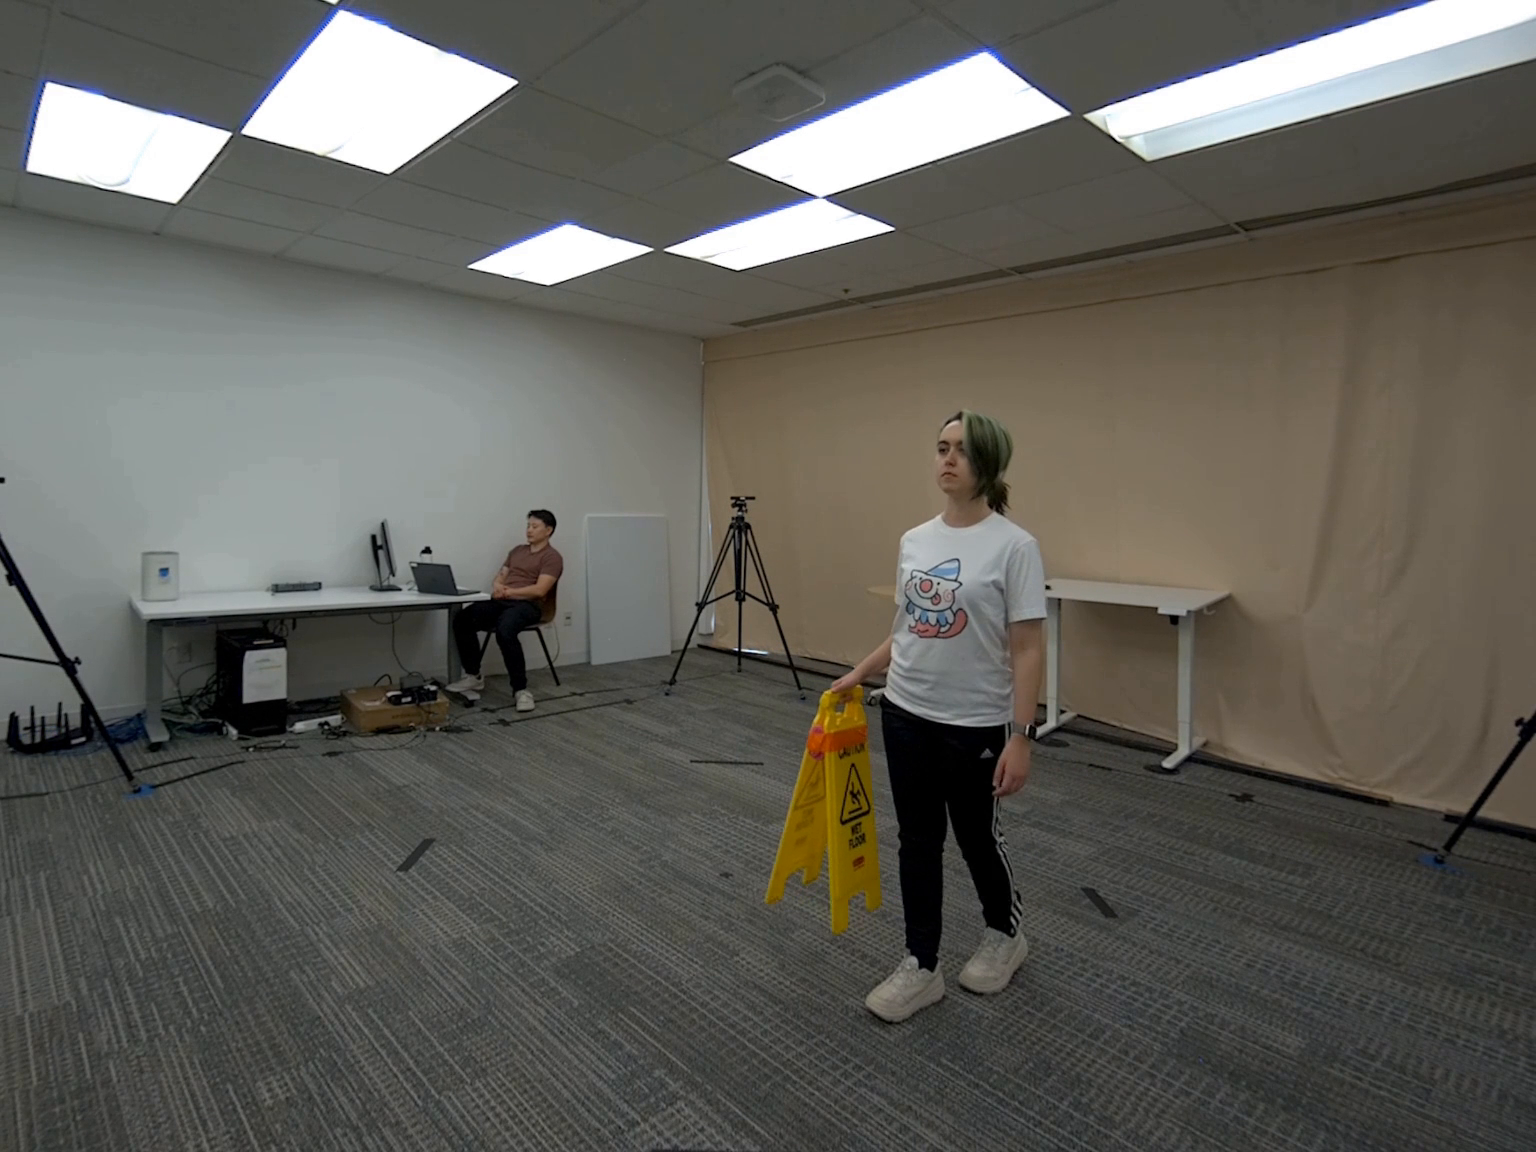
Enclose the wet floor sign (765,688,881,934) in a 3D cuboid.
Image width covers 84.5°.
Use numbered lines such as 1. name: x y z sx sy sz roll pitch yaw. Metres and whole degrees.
1. wet floor sign: 0.186 0.657 2.481 0.297 0.646 0.275 4 1 37
